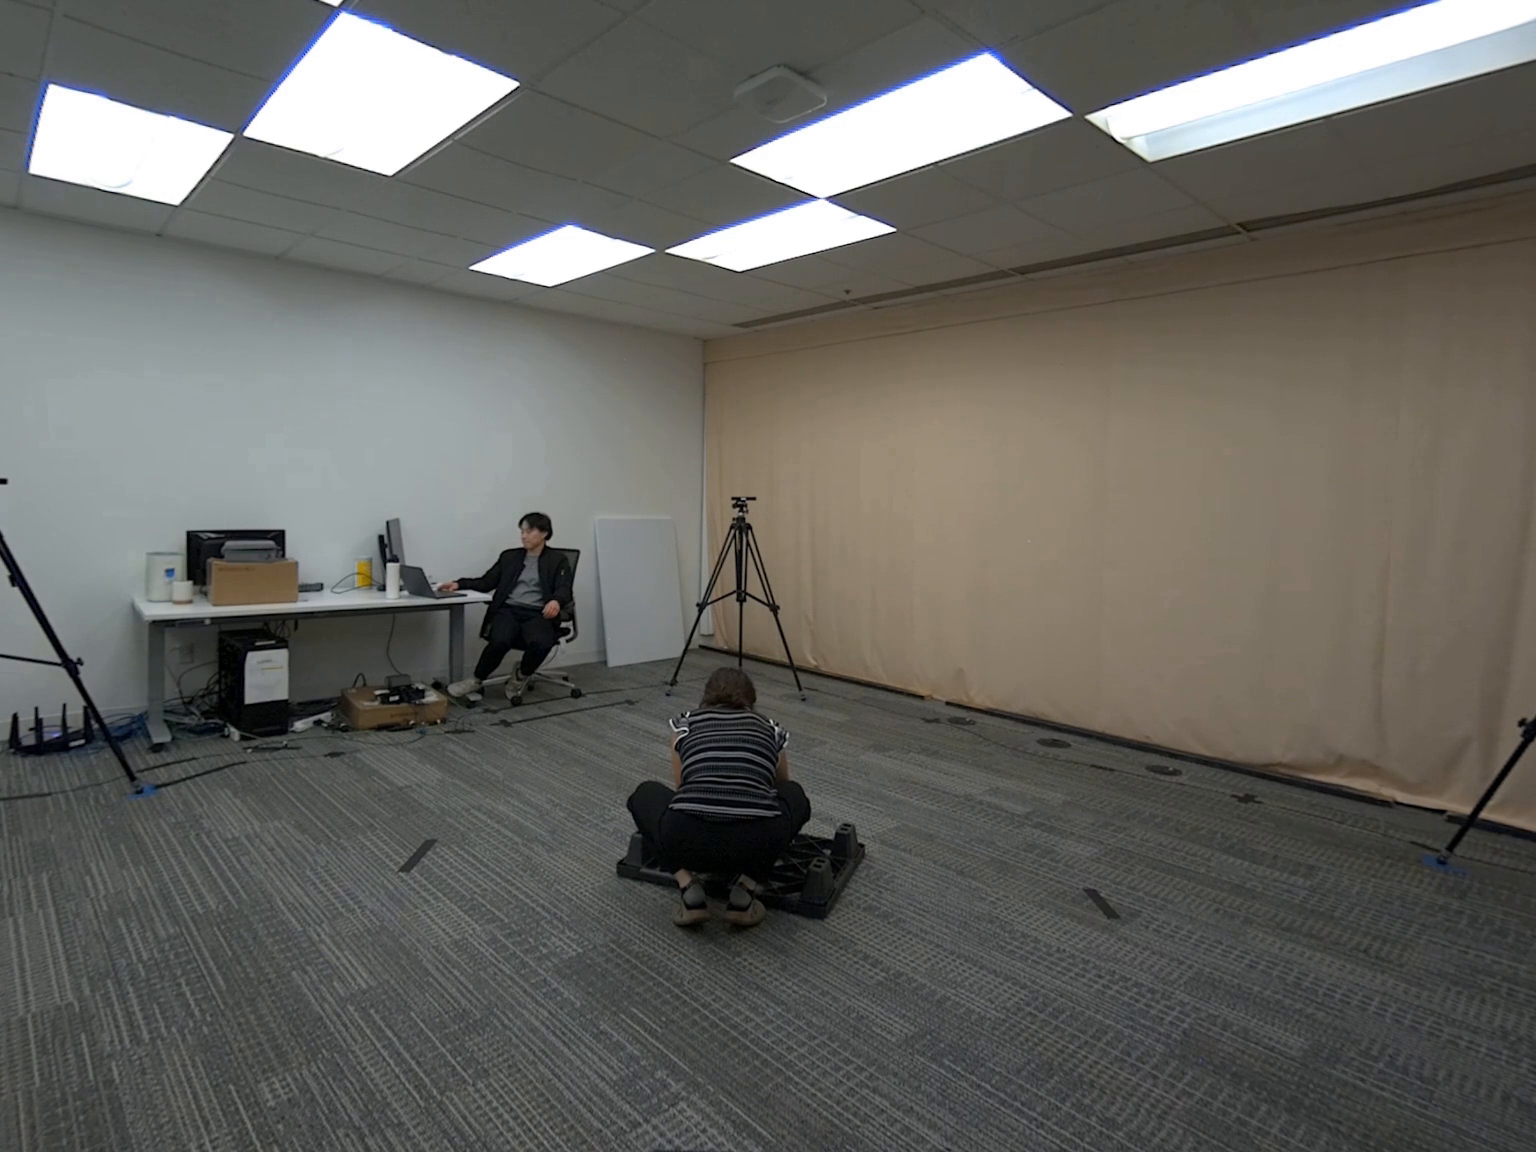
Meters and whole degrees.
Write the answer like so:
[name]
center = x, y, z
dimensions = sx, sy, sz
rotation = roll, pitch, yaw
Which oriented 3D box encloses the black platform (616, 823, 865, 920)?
[black platform]
center = -0.095, 1.030, 3.200
dimensions = 0.819, 0.143, 0.596
rotation = 3, 4, 21
